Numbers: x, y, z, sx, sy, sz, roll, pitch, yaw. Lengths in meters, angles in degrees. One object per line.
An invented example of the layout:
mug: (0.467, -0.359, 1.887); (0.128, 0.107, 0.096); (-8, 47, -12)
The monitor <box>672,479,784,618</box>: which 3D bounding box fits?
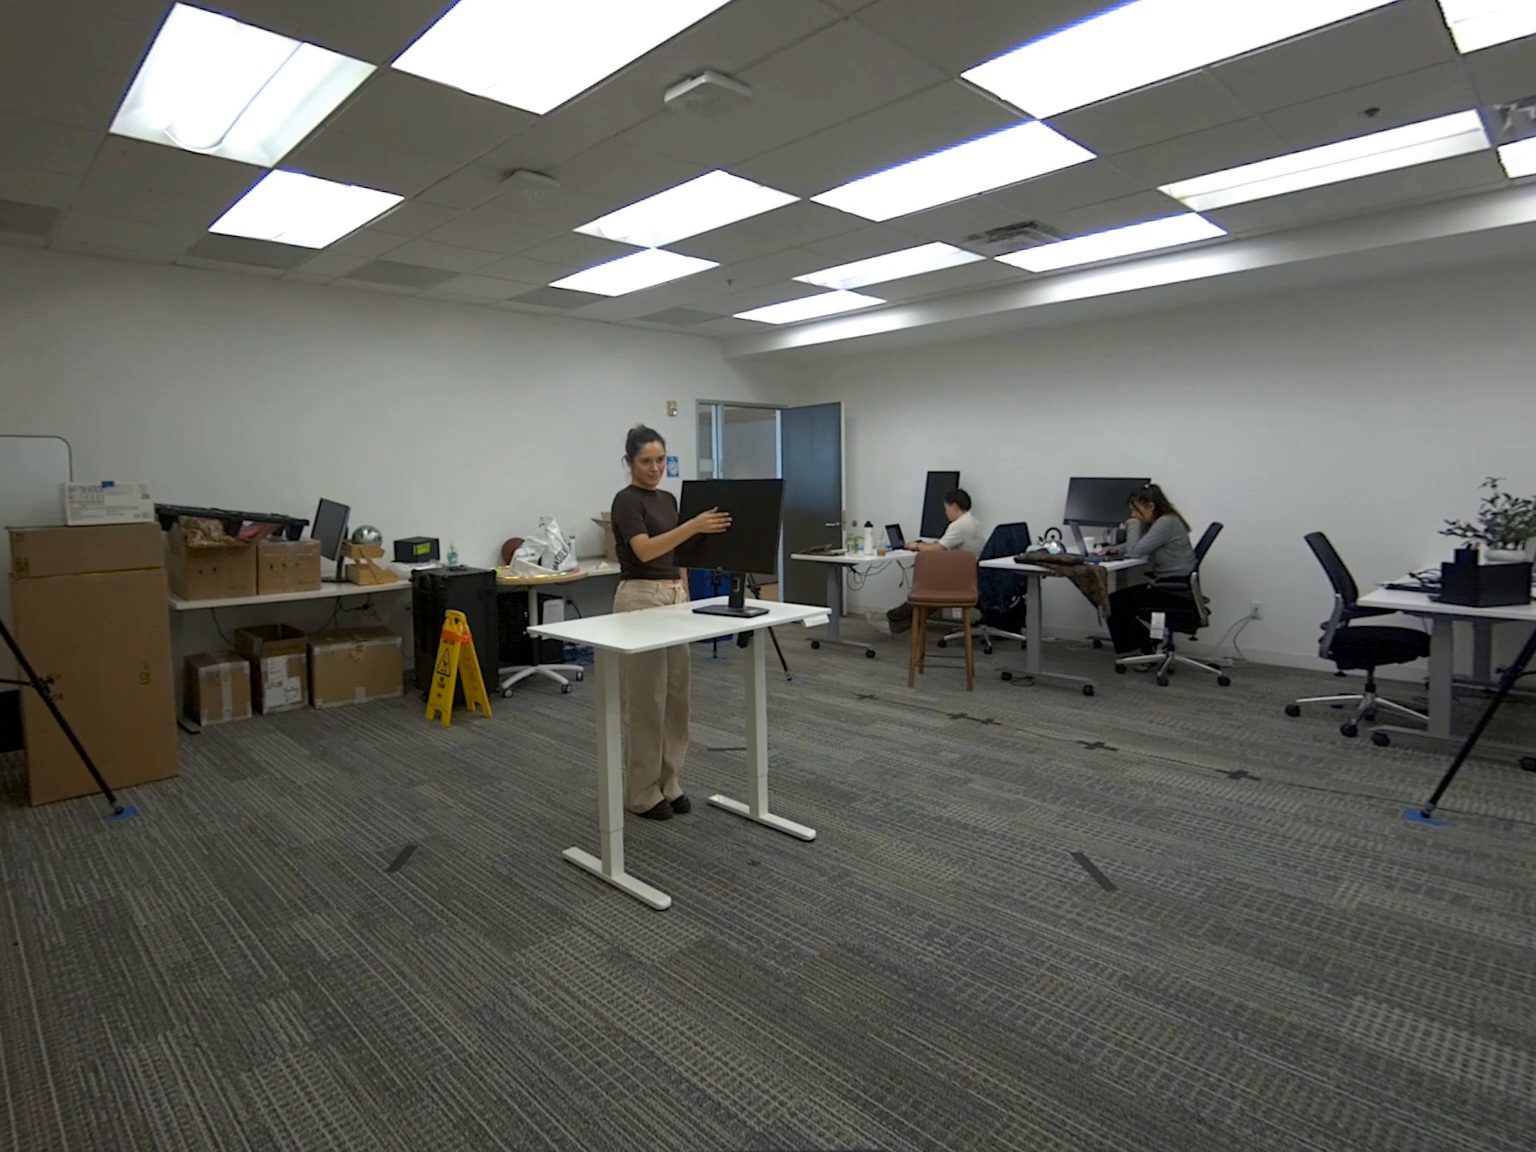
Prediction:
monitor: (-0.139, -0.110, 3.283); (0.556, 0.520, 0.182); (4, 7, 42)
